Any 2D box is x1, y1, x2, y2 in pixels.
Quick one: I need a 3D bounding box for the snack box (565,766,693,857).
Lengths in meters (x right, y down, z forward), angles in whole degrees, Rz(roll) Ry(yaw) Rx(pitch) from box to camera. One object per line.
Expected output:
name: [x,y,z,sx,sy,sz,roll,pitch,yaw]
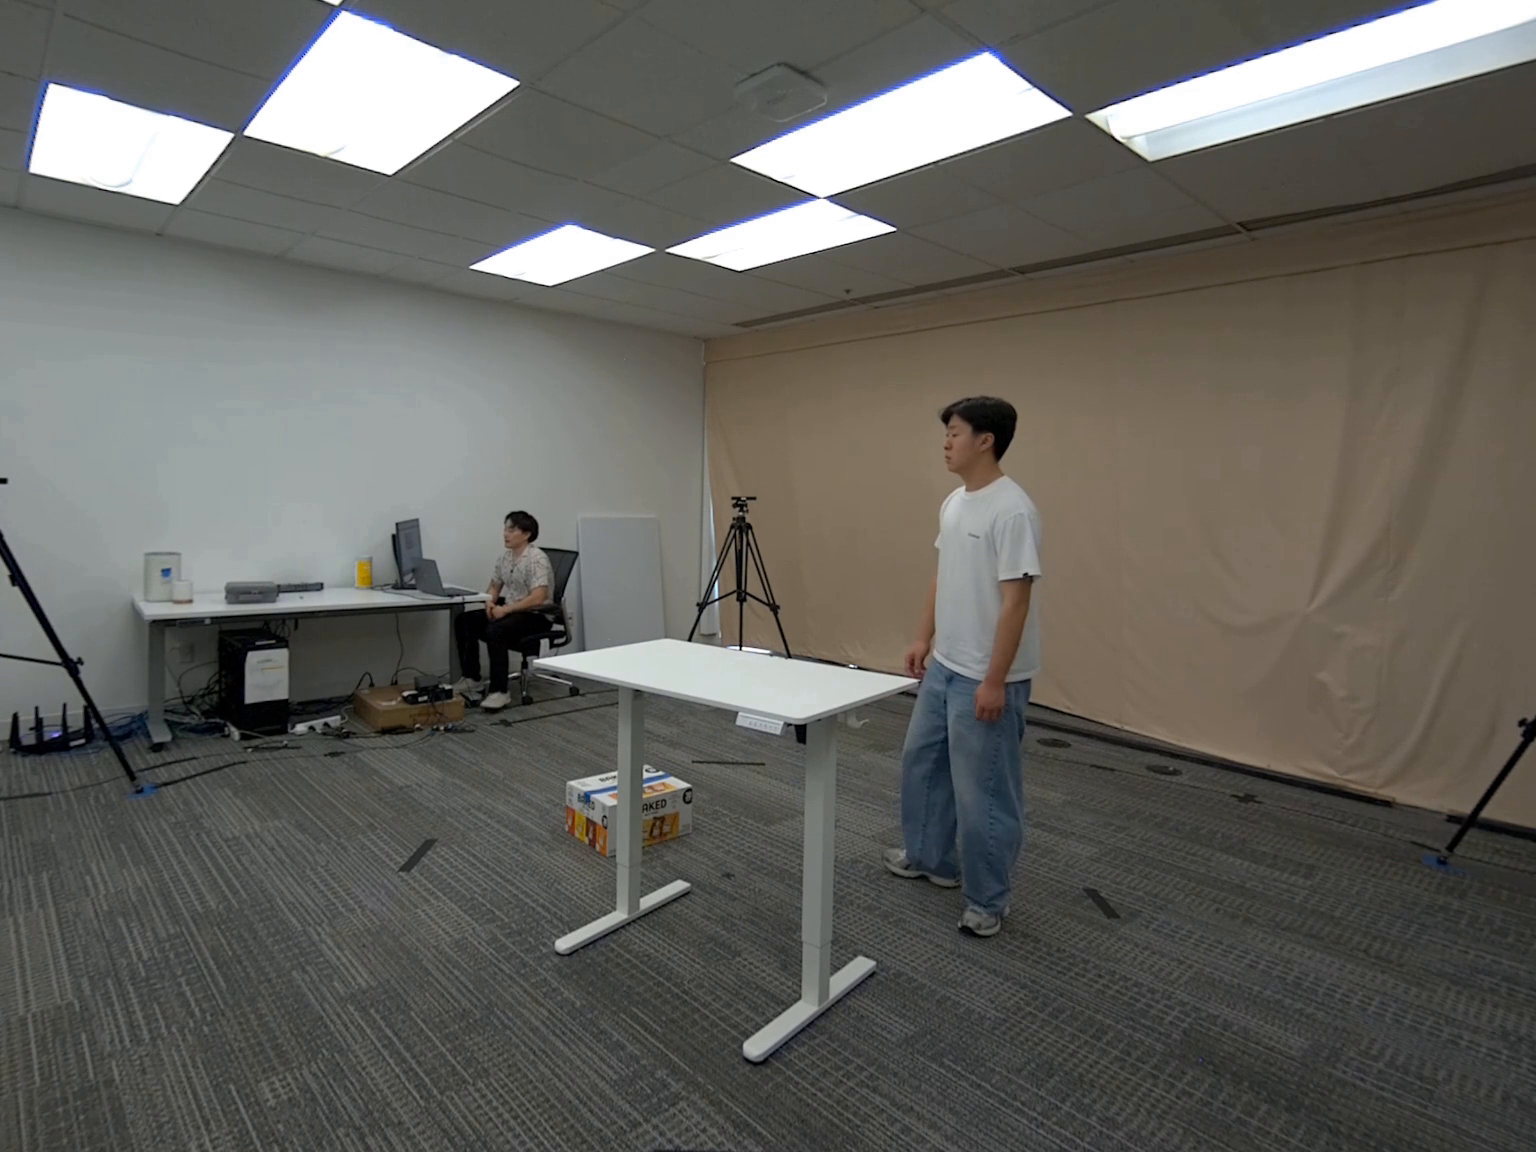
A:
snack box: [-0.583,0.961,3.483,0.396,0.205,0.349,-3,6,-40]
